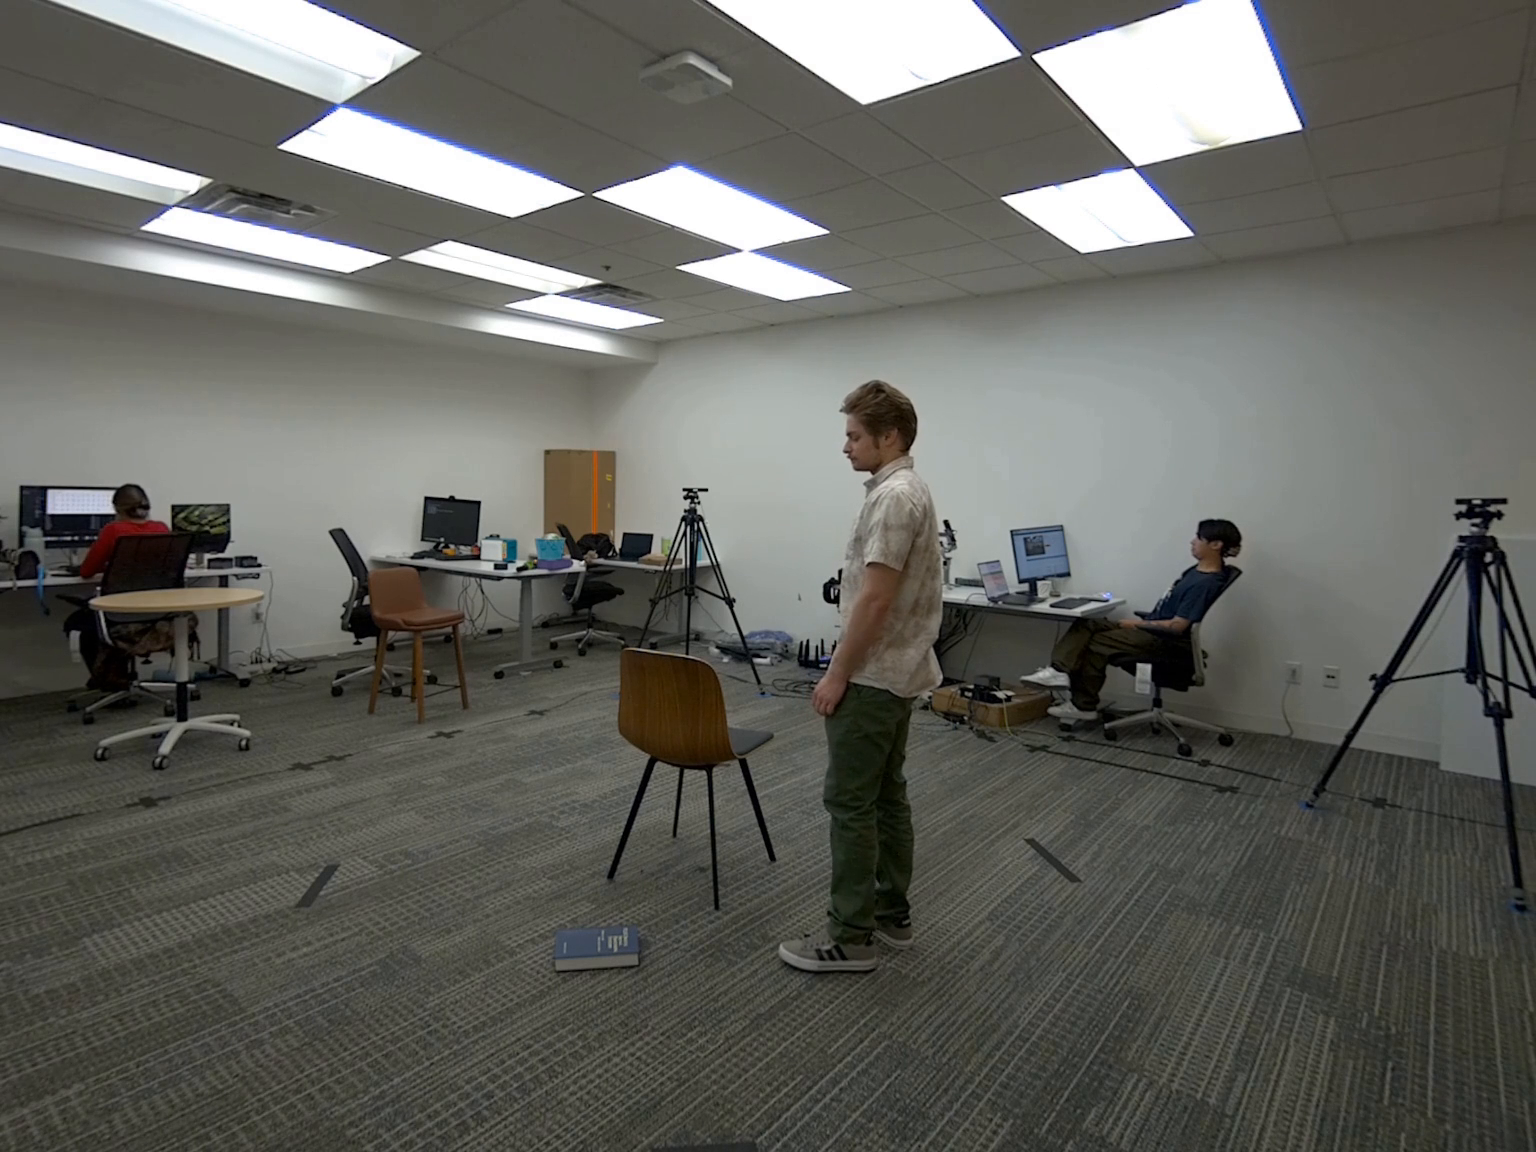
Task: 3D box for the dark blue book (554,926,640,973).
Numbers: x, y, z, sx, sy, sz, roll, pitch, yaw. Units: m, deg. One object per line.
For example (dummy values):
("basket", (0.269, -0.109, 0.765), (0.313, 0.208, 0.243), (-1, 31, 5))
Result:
("dark blue book", (-0.517, 1.101, 2.521), (0.243, 0.045, 0.166), (0, 6, -10))
